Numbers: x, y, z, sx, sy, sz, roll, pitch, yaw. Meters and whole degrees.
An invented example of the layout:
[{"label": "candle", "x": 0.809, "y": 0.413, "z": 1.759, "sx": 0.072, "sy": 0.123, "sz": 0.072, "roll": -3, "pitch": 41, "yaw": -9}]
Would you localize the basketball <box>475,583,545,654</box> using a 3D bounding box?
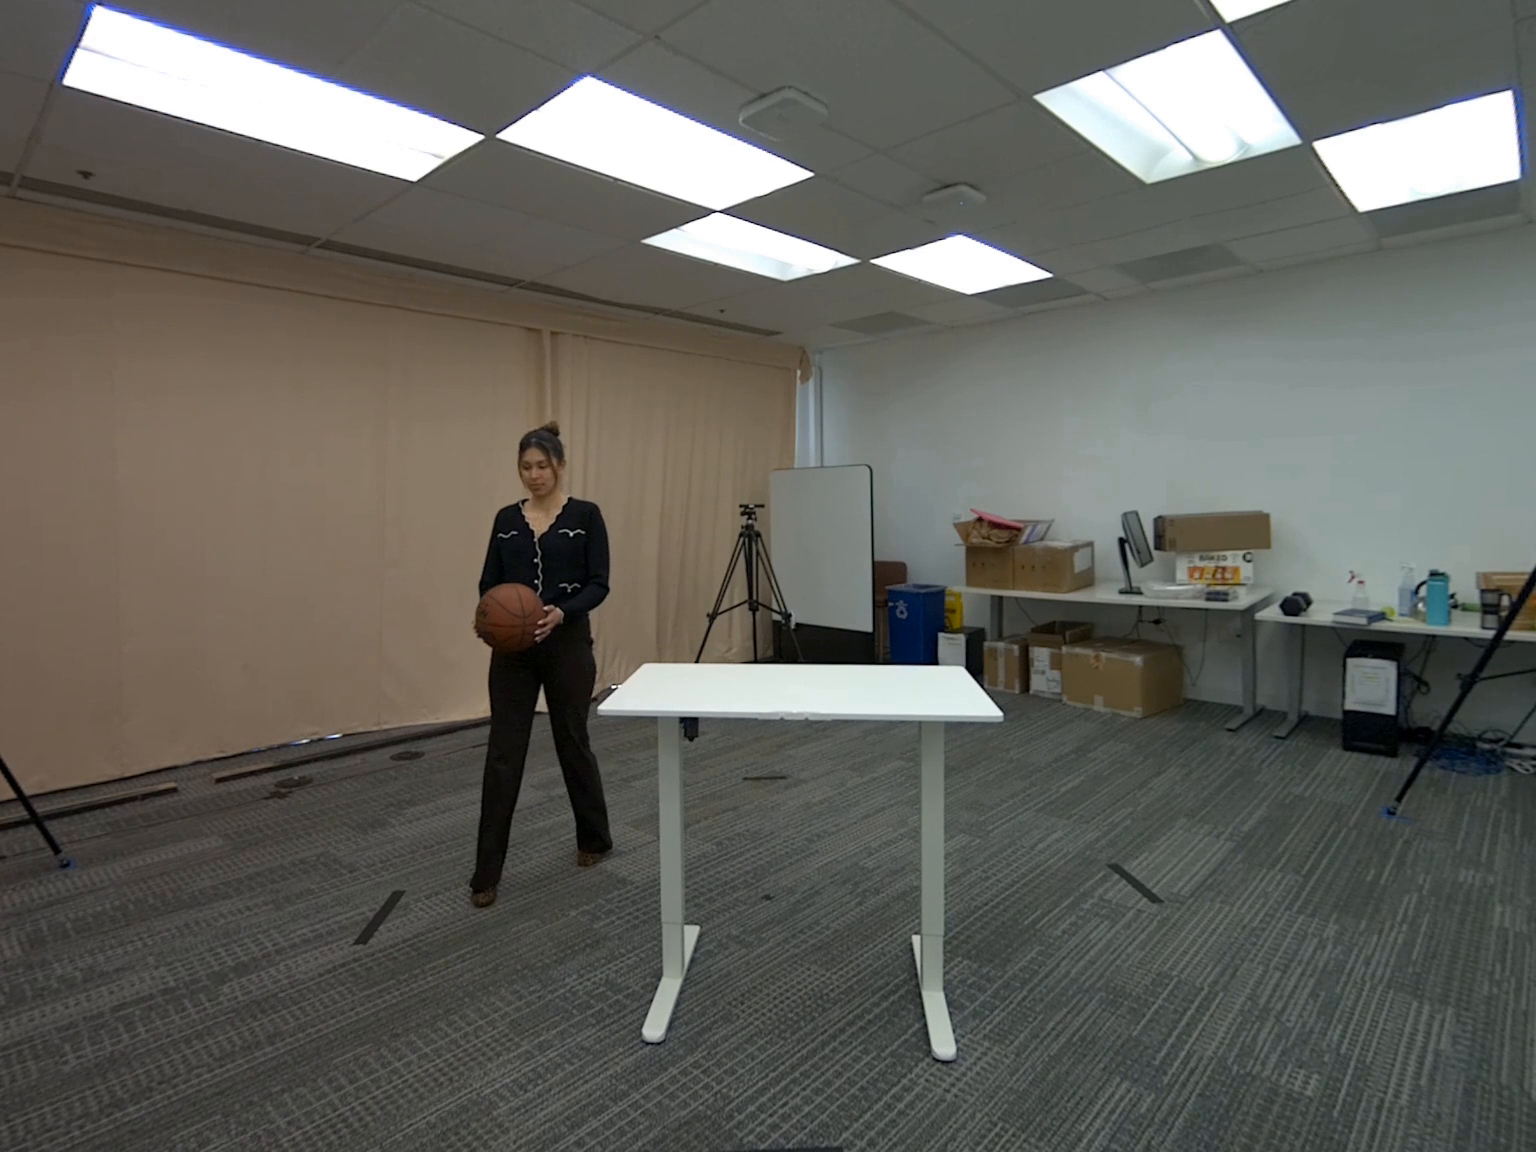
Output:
[{"label": "basketball", "x": -0.872, "y": 0.139, "z": 2.874, "sx": 0.236, "sy": 0.235, "sz": 0.237, "roll": -1, "pitch": 4, "yaw": -2}]
